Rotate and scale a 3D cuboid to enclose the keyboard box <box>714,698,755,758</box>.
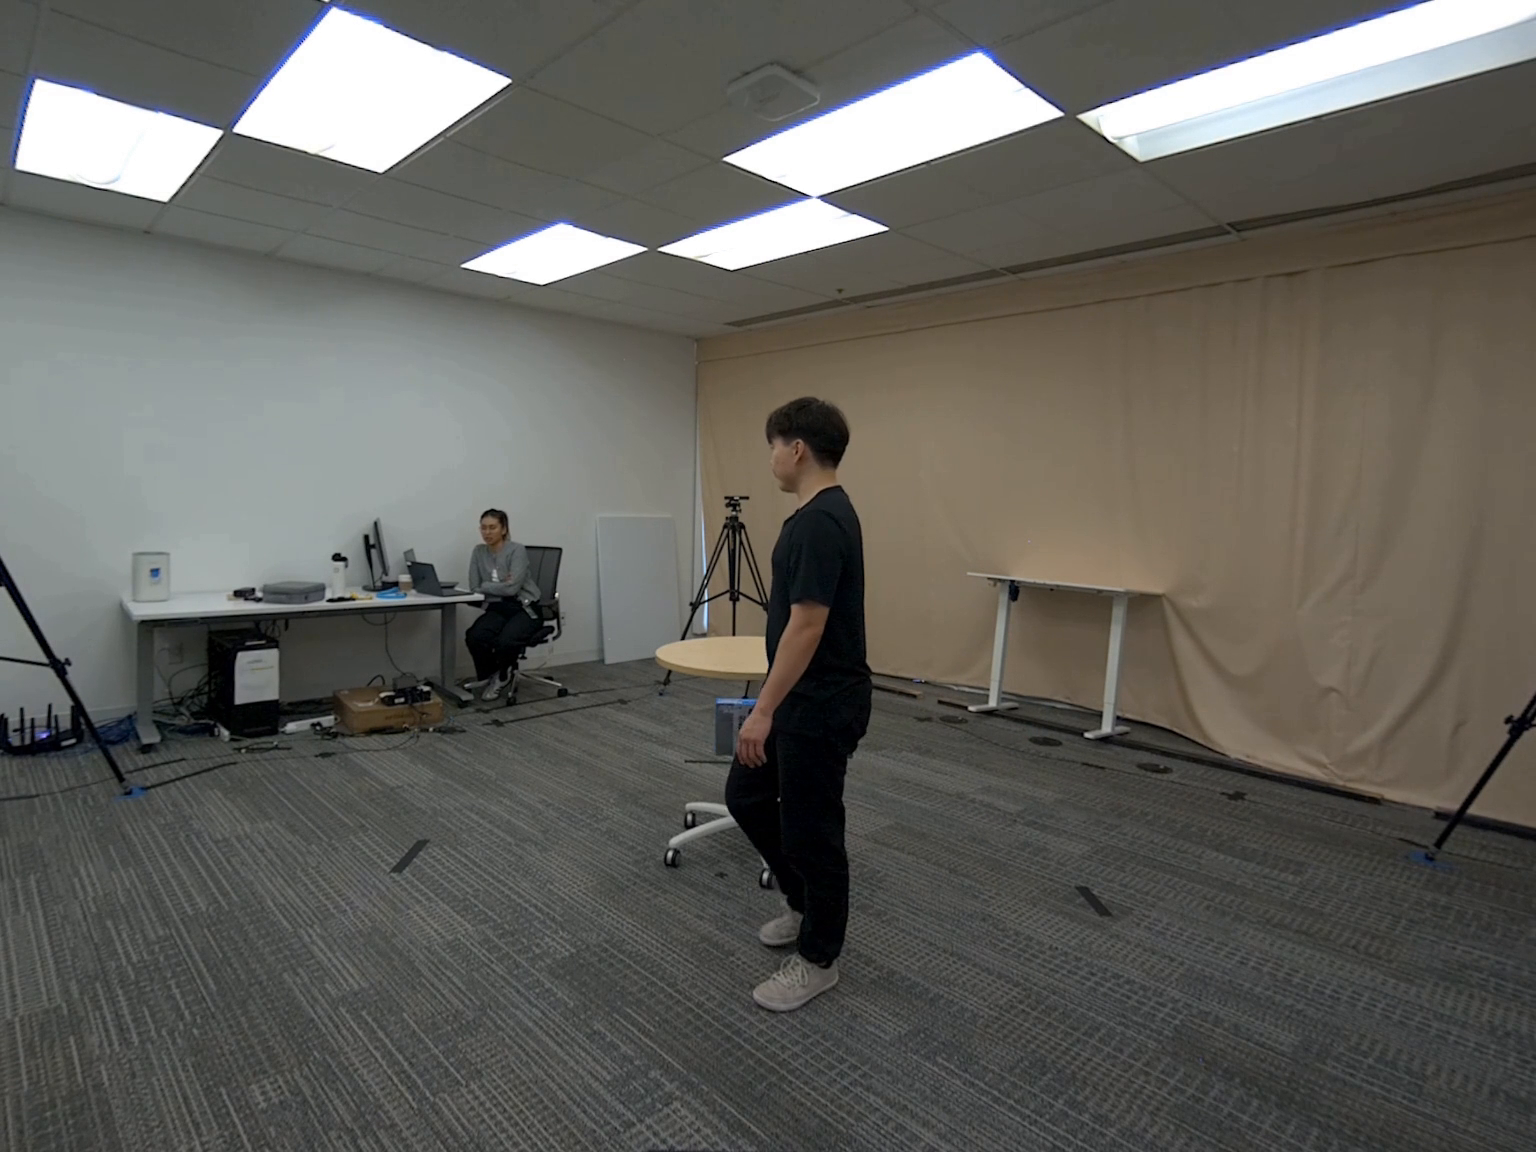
[{"bbox_3d":[0.047,0.491,2.675,0.437,0.175,0.059,1,5,0],"label":"keyboard box"}]
